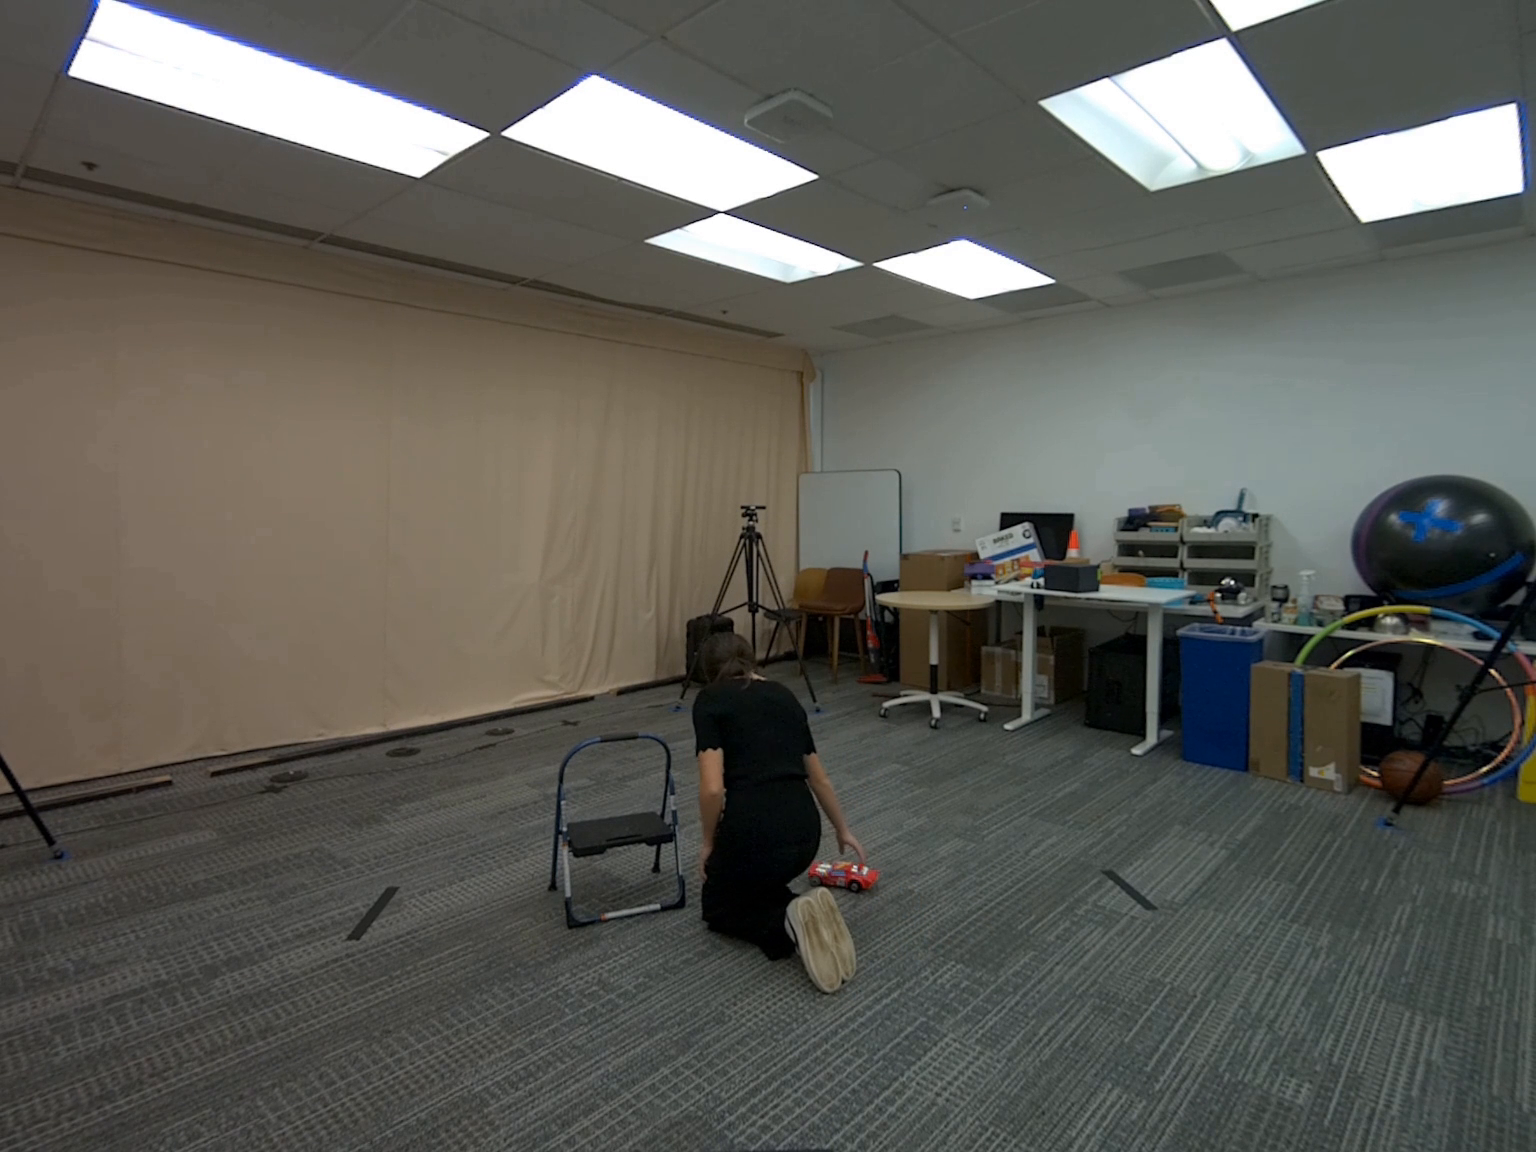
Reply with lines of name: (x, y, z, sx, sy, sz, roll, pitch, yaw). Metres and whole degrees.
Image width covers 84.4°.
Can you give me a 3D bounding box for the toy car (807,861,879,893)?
toy car: (0.286, 1.103, 3.085, 0.259, 0.083, 0.128, -9, -1, 19)
